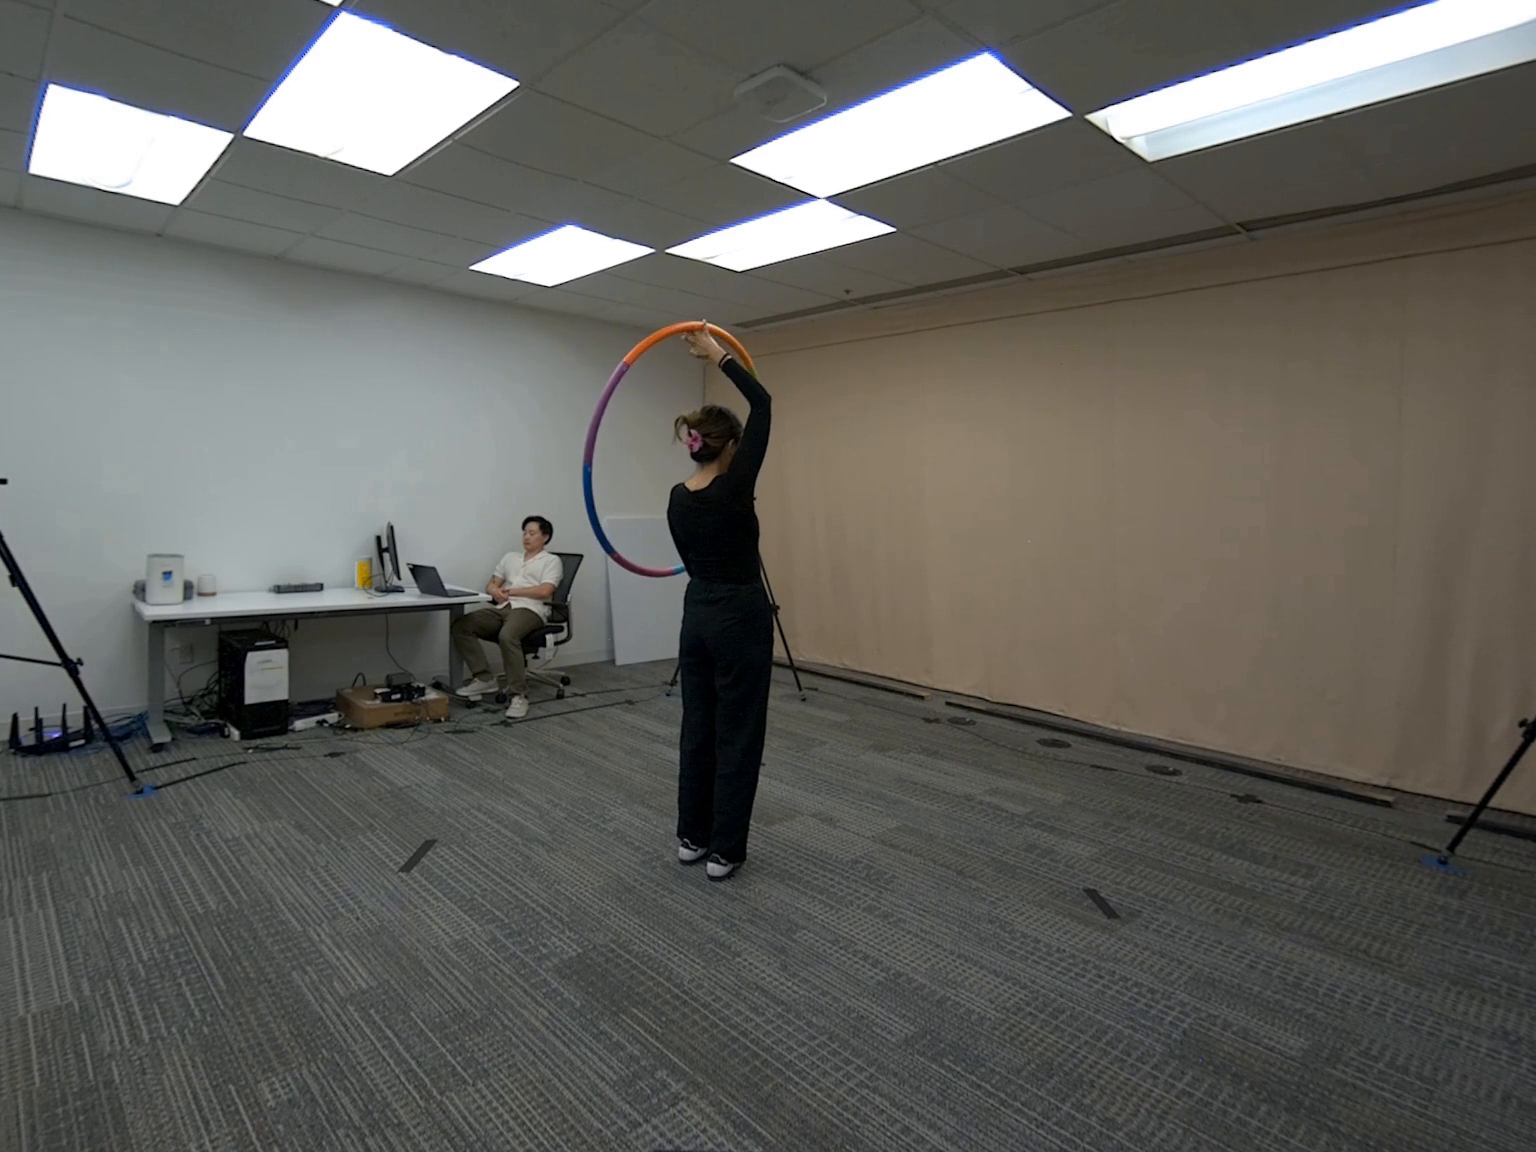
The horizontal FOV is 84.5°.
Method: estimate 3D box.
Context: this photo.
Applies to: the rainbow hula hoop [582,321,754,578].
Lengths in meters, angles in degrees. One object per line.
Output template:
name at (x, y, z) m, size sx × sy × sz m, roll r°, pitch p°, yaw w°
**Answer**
rainbow hula hoop at (-0.330, -0.467, 3.237) m, size 0.053 × 0.979 × 0.964 m, roll 19°, pitch 14°, yaw 35°
